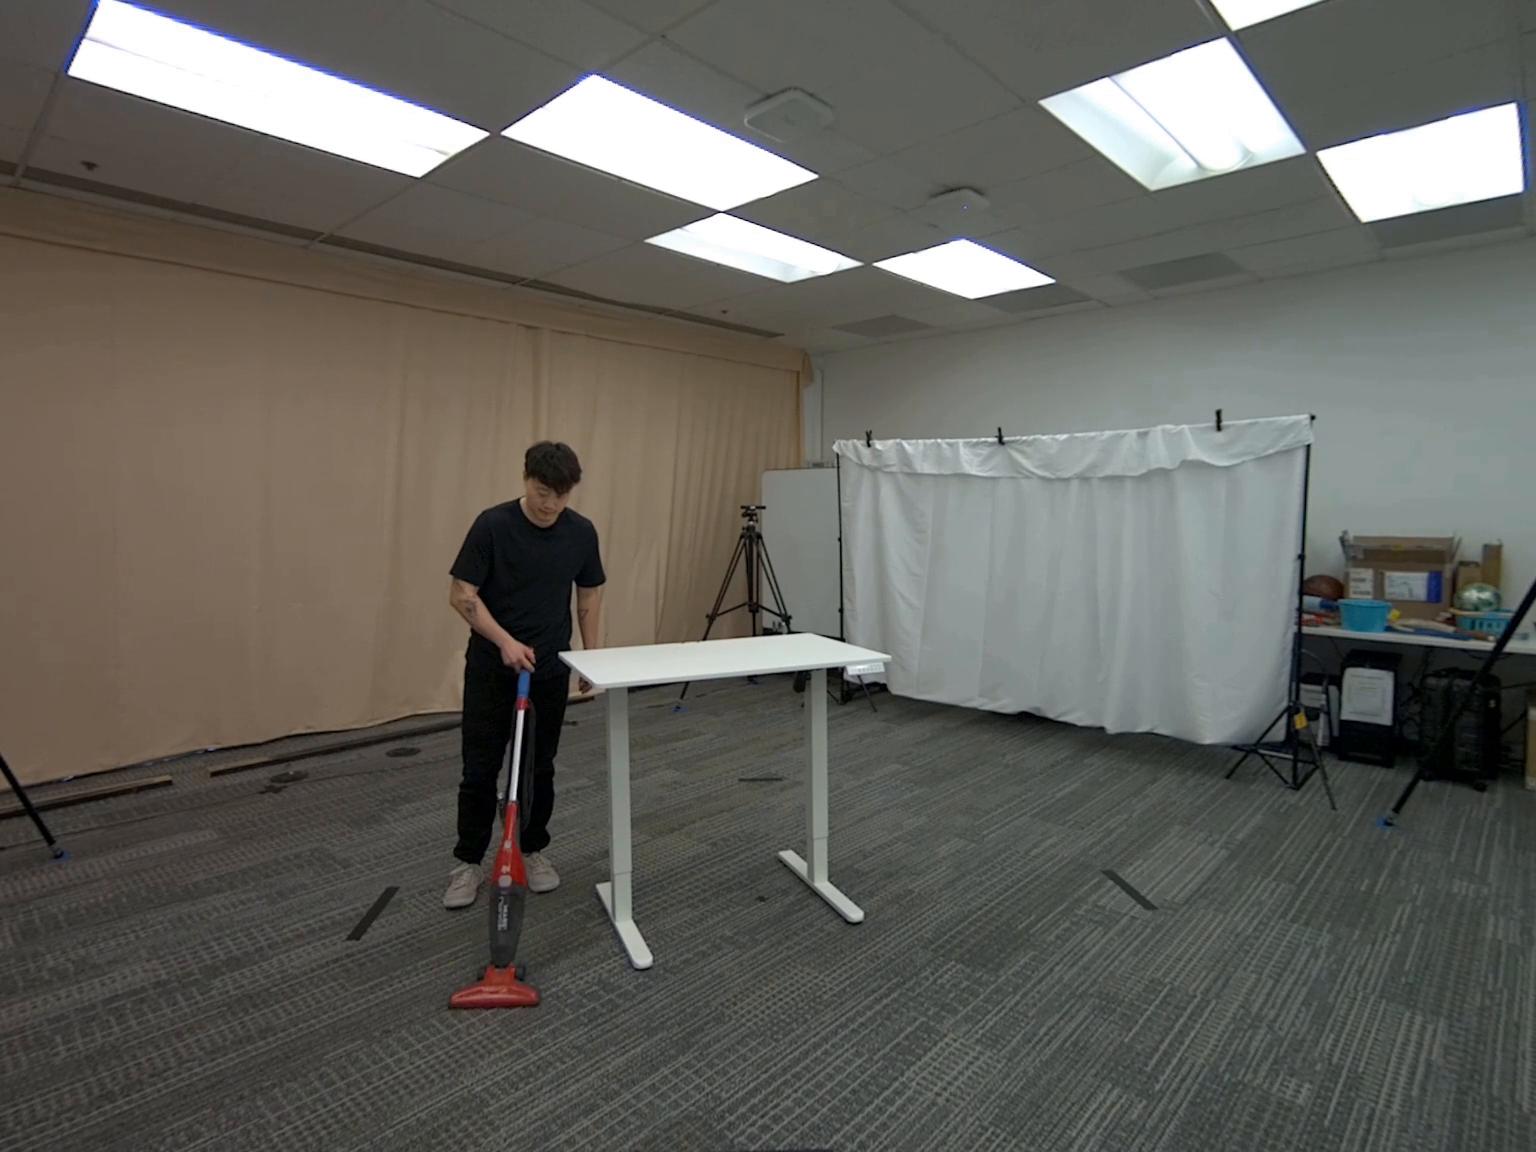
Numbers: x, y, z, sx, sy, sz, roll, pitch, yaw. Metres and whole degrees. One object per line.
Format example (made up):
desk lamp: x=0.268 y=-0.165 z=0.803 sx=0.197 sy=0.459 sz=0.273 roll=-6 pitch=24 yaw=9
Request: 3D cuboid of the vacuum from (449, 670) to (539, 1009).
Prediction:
vacuum: x=-0.806 y=0.731 z=2.653 sx=0.249 sy=1.067 sz=0.143 roll=2 pitch=-29 yaw=-12
